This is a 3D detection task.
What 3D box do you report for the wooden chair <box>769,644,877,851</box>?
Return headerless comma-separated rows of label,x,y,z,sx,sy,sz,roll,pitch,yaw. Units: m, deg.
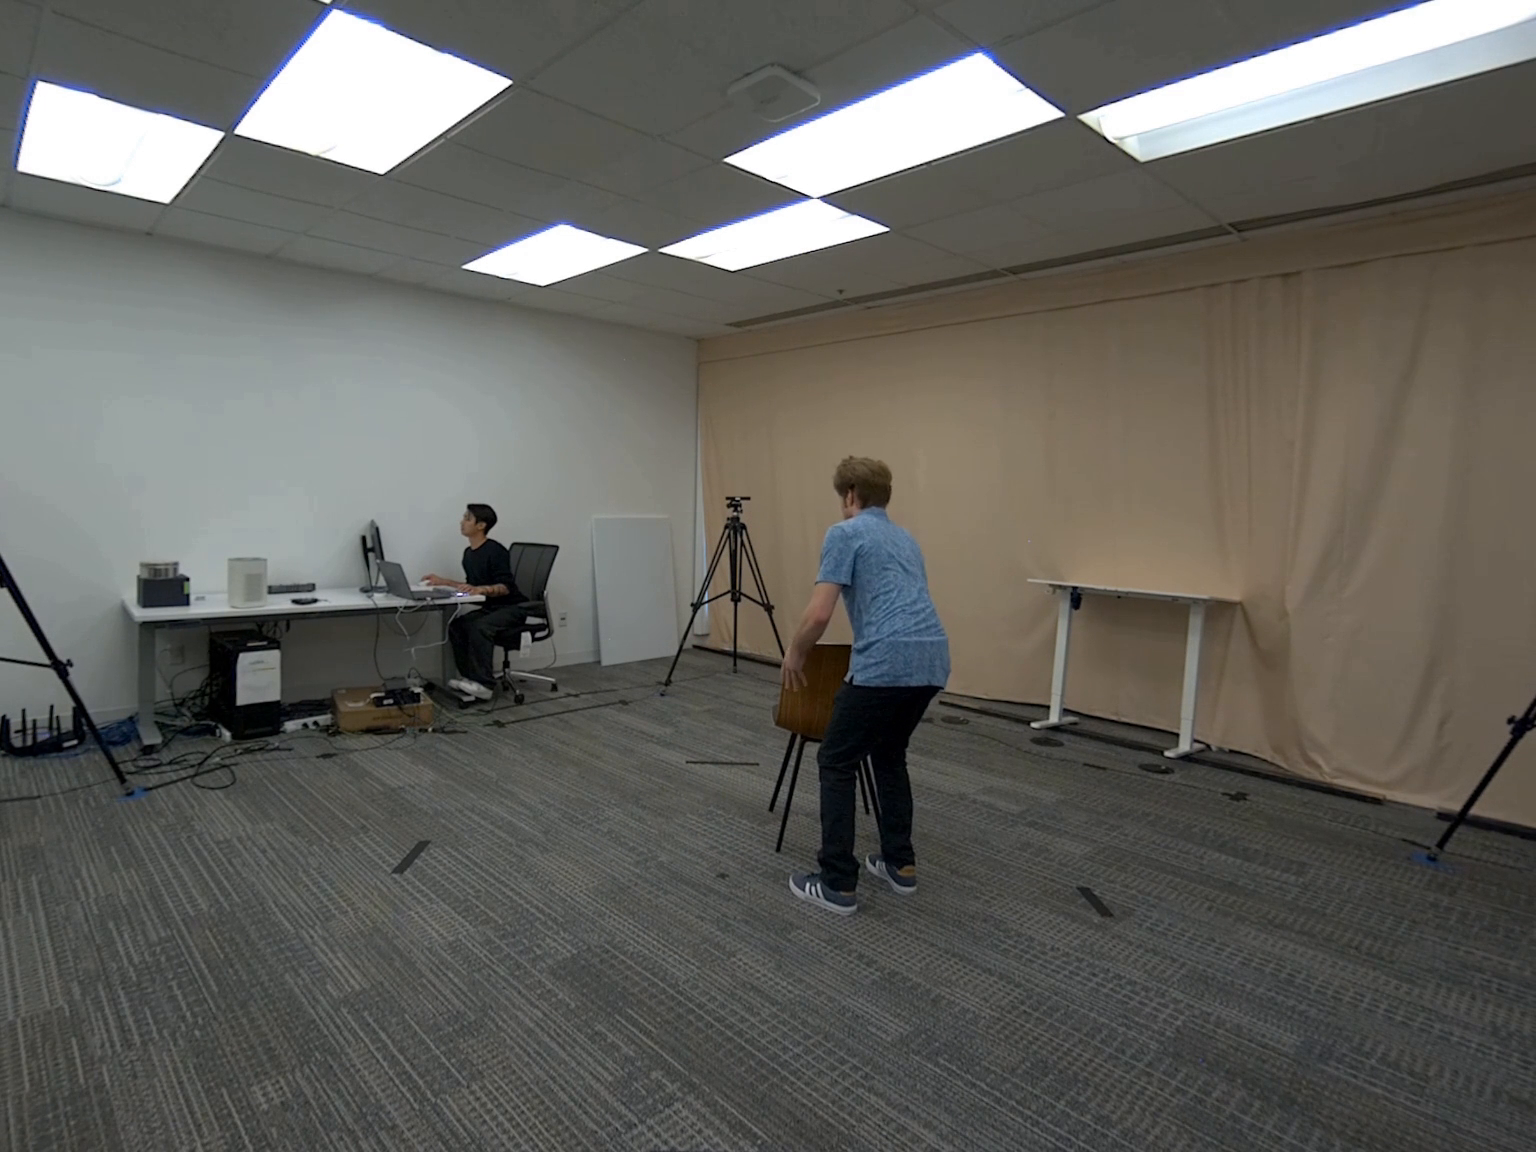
wooden chair,0.241,0.651,3.532,0.477,0.873,0.526,1,7,-2
